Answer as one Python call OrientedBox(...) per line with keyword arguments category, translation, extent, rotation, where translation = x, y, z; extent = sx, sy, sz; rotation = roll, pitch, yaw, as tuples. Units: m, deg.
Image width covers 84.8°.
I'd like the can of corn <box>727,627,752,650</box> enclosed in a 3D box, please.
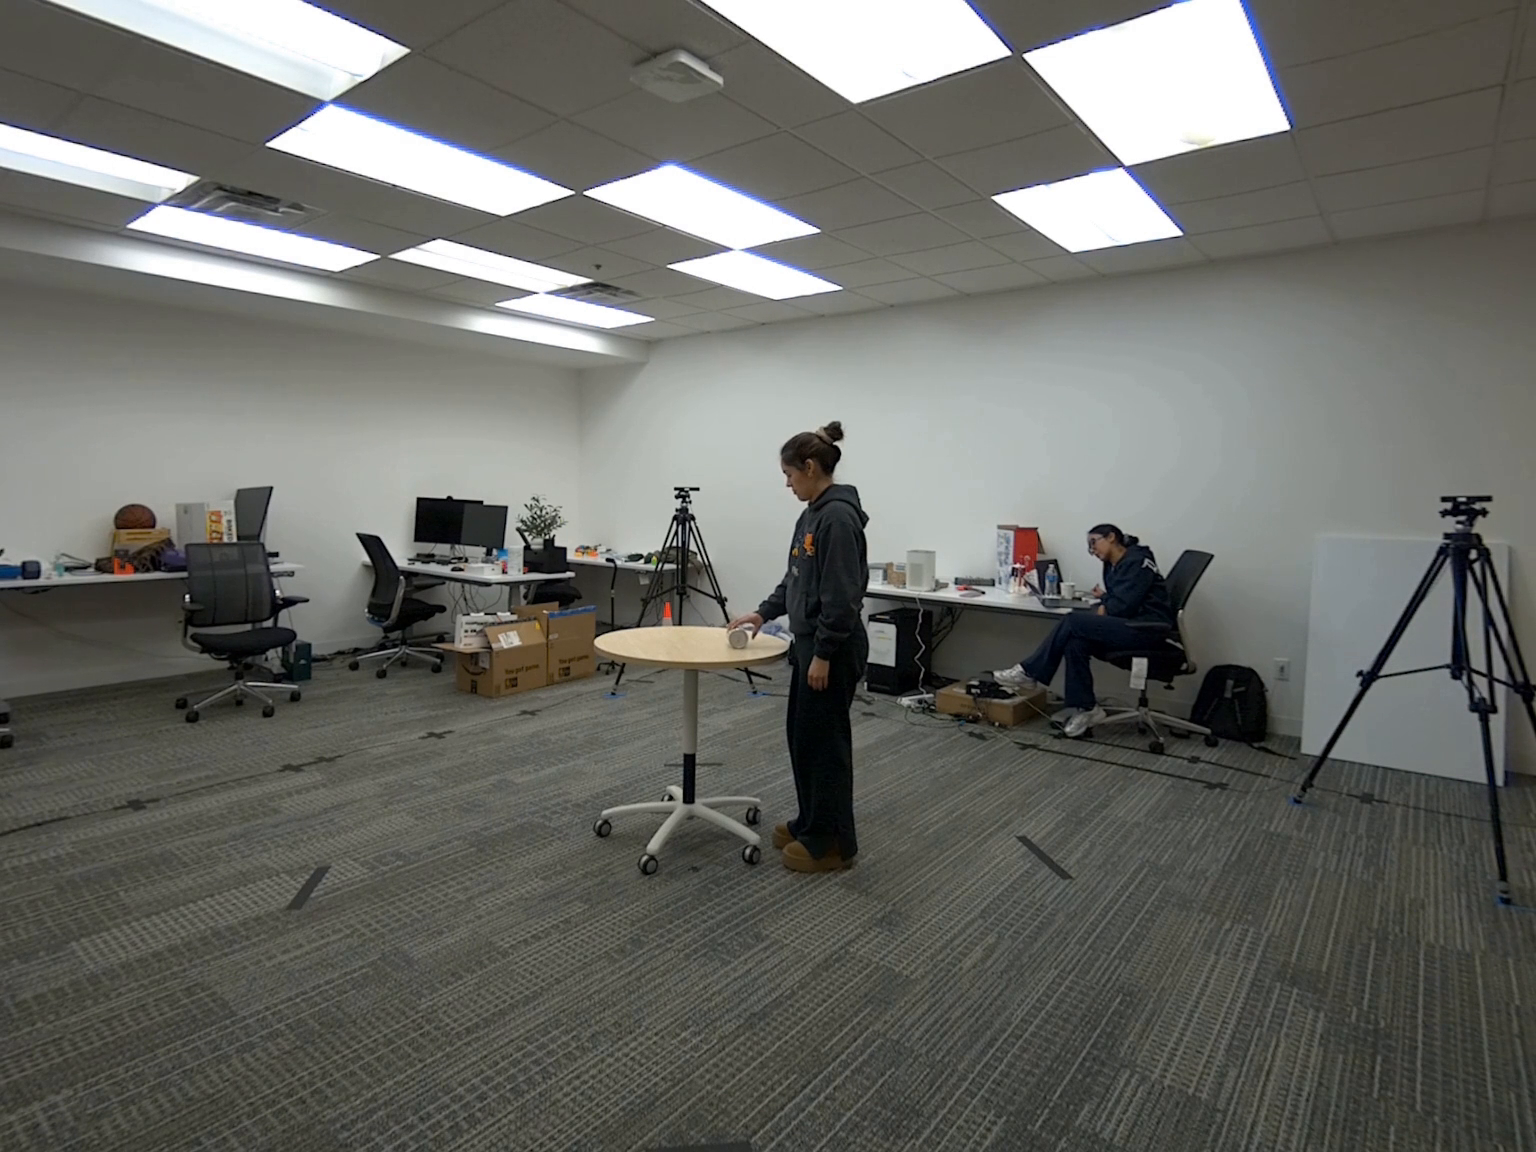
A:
OrientedBox(category="can of corn", translation=(-0.132, 0.230, 3.295), extent=(0.074, 0.073, 0.112), rotation=(0, 9, -5))
